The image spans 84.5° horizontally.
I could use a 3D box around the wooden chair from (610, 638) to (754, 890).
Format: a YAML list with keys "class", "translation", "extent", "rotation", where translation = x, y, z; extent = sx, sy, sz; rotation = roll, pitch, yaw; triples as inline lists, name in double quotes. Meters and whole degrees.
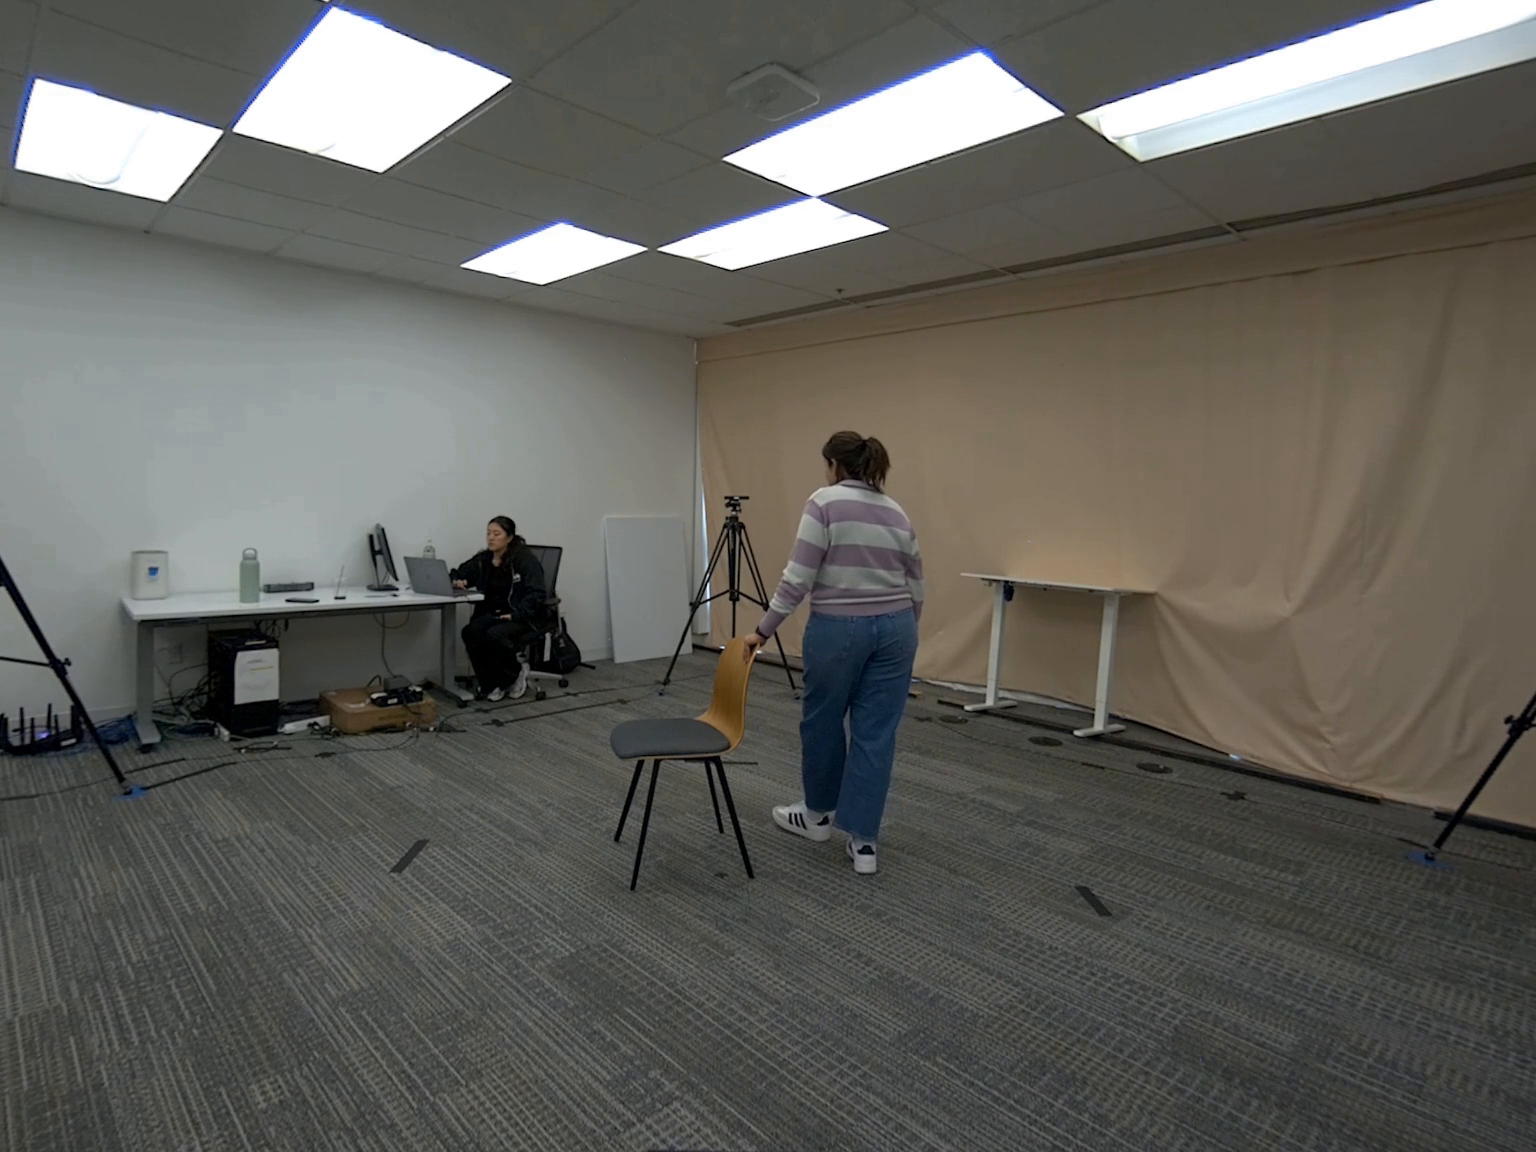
- class: "wooden chair"
  translation: [-0.337, 0.663, 3.198]
  extent: [0.516, 0.876, 0.485]
  rotation: [5, 2, -17]
